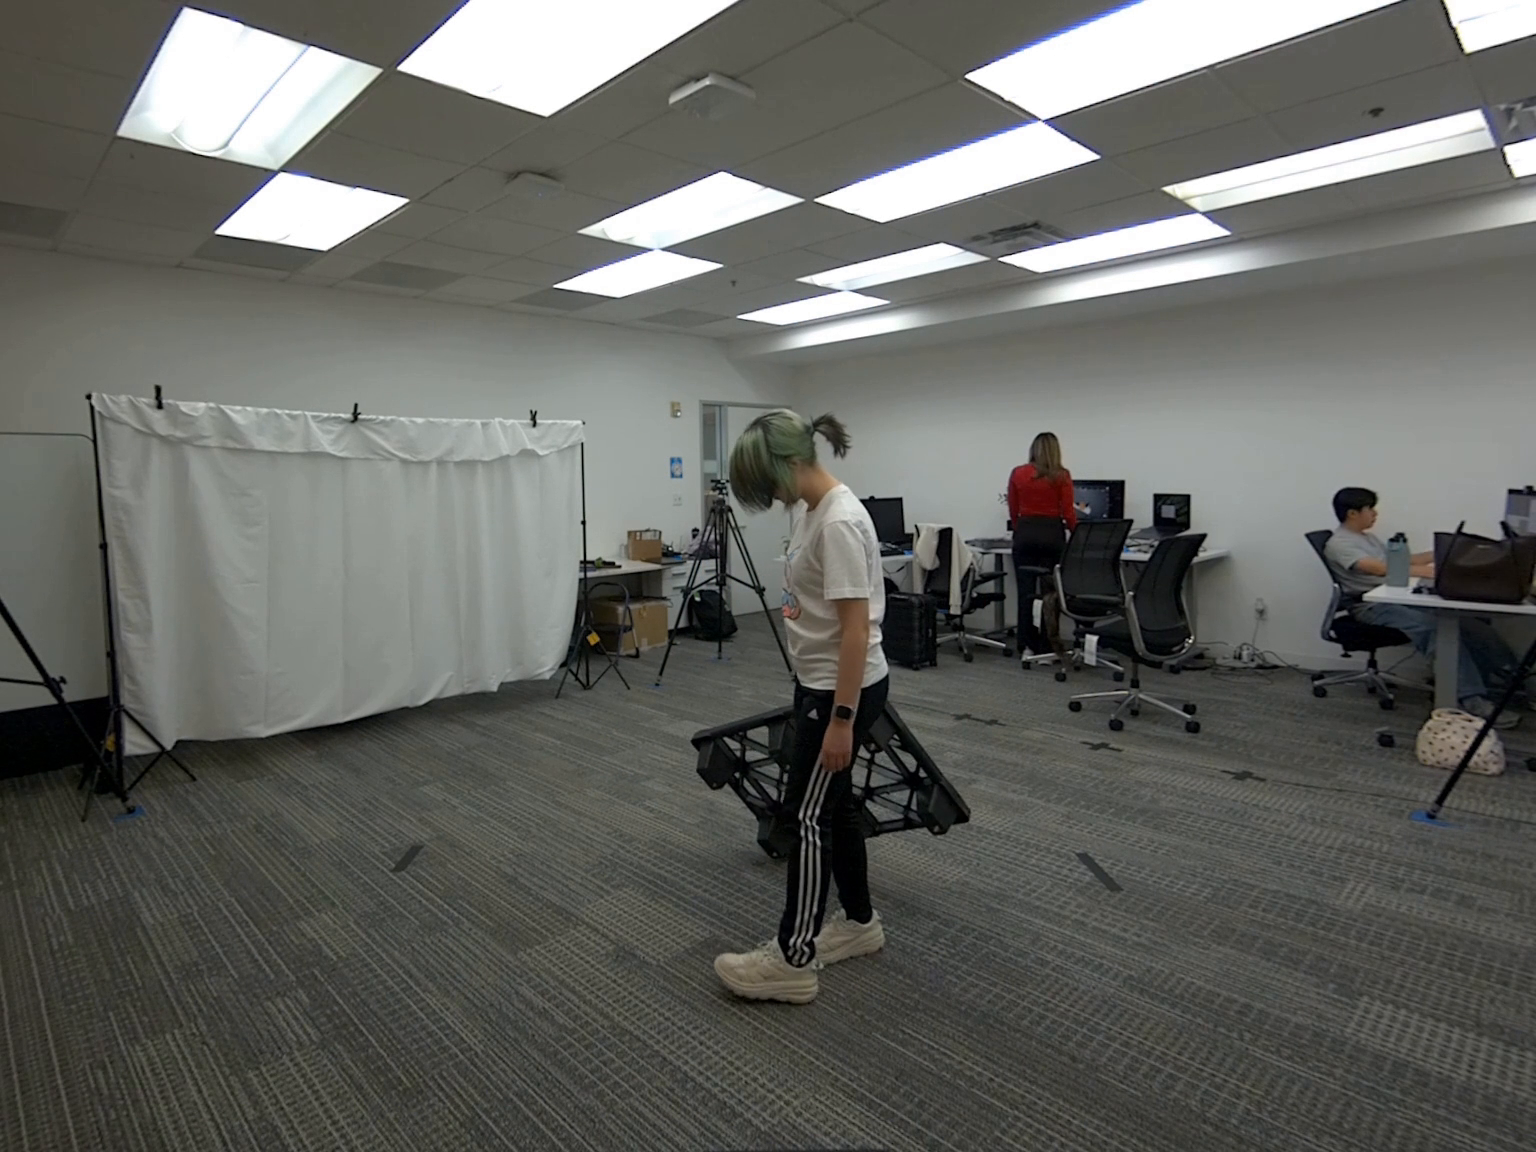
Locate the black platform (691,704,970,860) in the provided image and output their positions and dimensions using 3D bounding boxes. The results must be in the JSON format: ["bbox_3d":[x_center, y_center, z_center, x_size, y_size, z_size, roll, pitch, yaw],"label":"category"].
[{"bbox_3d":[0.176,0.711,2.887,0.817,0.593,0.144,-23,21,37],"label":"black platform"}]
